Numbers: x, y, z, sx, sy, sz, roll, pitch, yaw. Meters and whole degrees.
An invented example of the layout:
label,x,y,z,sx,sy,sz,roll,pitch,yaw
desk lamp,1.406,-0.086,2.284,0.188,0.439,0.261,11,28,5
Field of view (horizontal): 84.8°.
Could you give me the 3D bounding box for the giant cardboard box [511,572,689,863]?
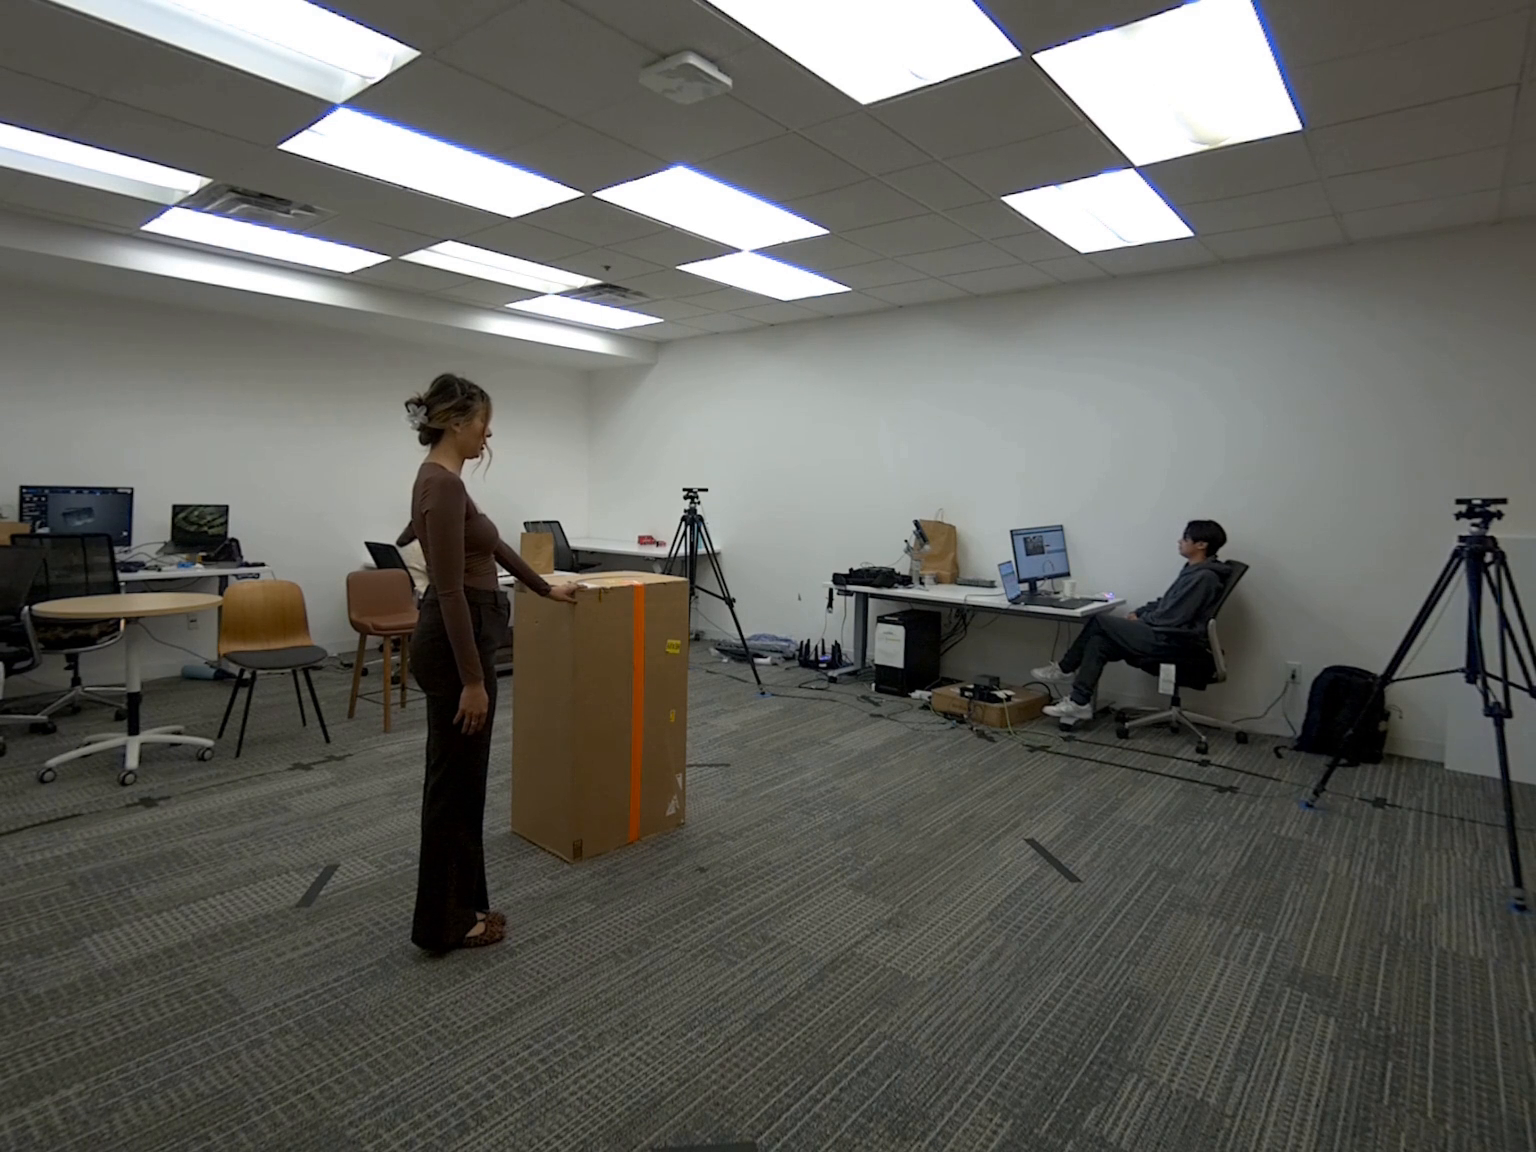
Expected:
label,x,y,z,sx,sy,sz,roll,pitch,yaw
giant cardboard box,-0.688,0.519,3.455,0.462,1.024,0.566,5,5,44
